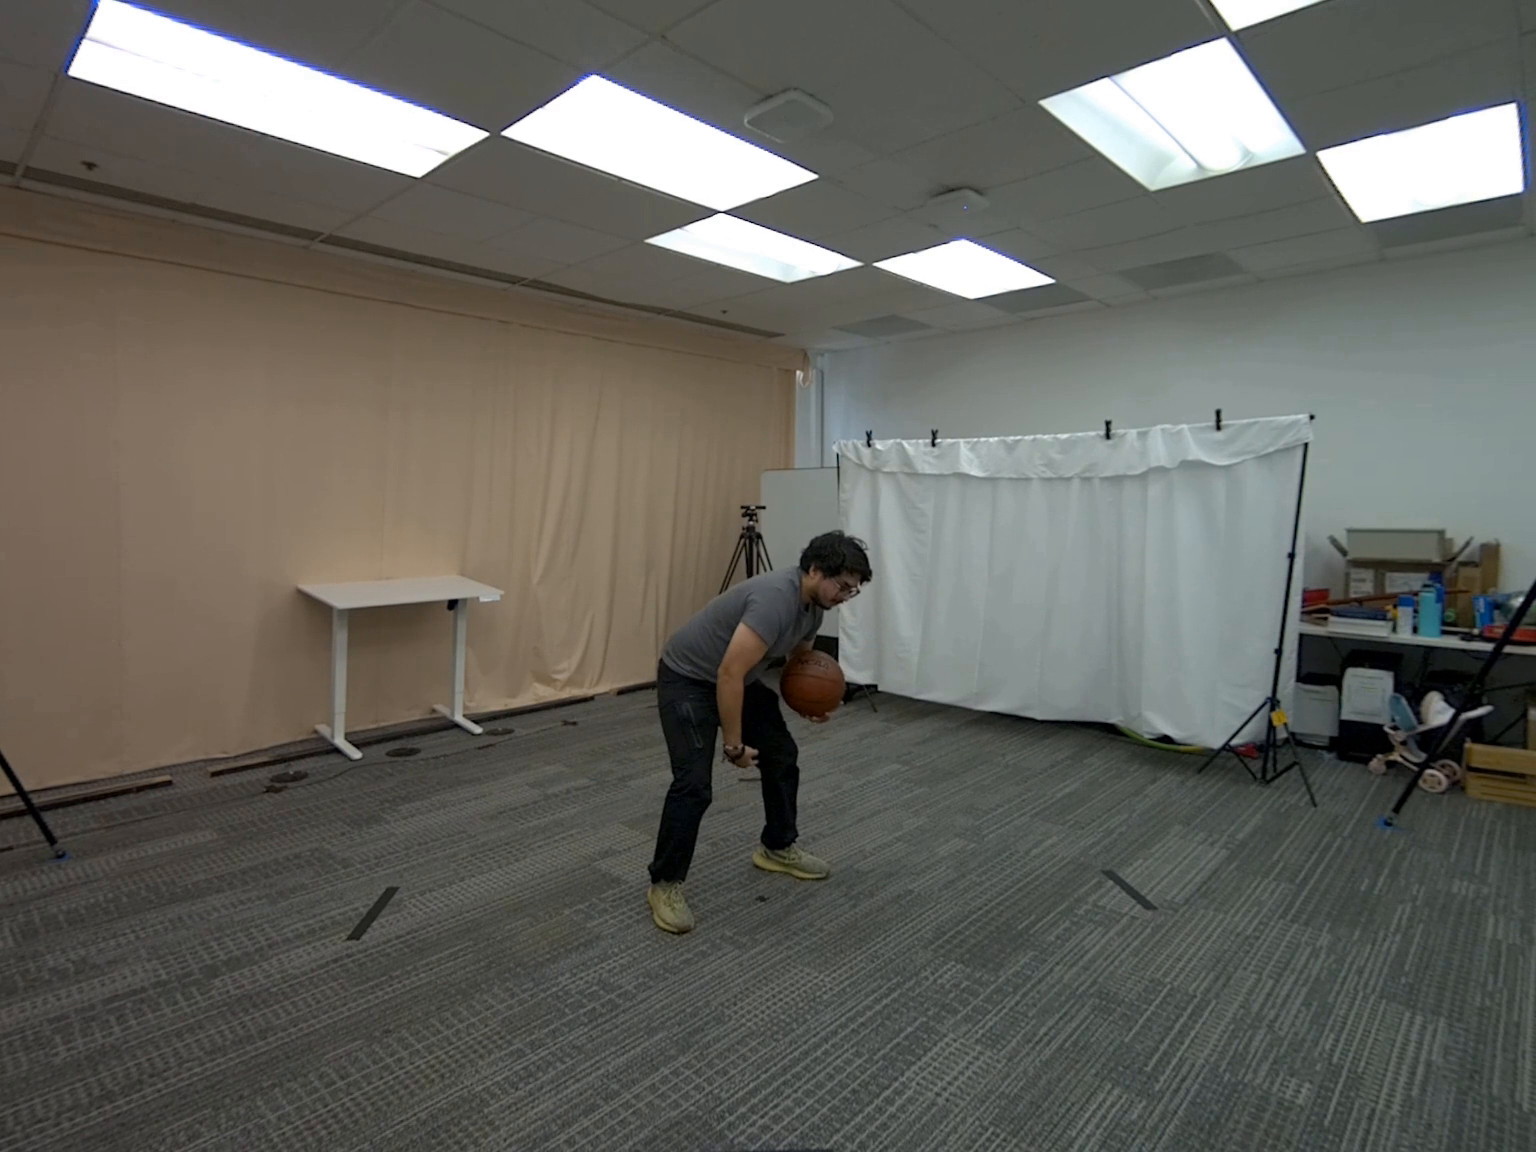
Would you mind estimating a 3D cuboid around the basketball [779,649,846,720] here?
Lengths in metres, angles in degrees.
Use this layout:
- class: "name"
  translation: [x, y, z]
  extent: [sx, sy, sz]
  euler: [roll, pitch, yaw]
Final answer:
- class: "basketball"
  translation: [0.170, 0.395, 3.067]
  extent: [0.236, 0.235, 0.237]
  euler: [0, 4, -2]
